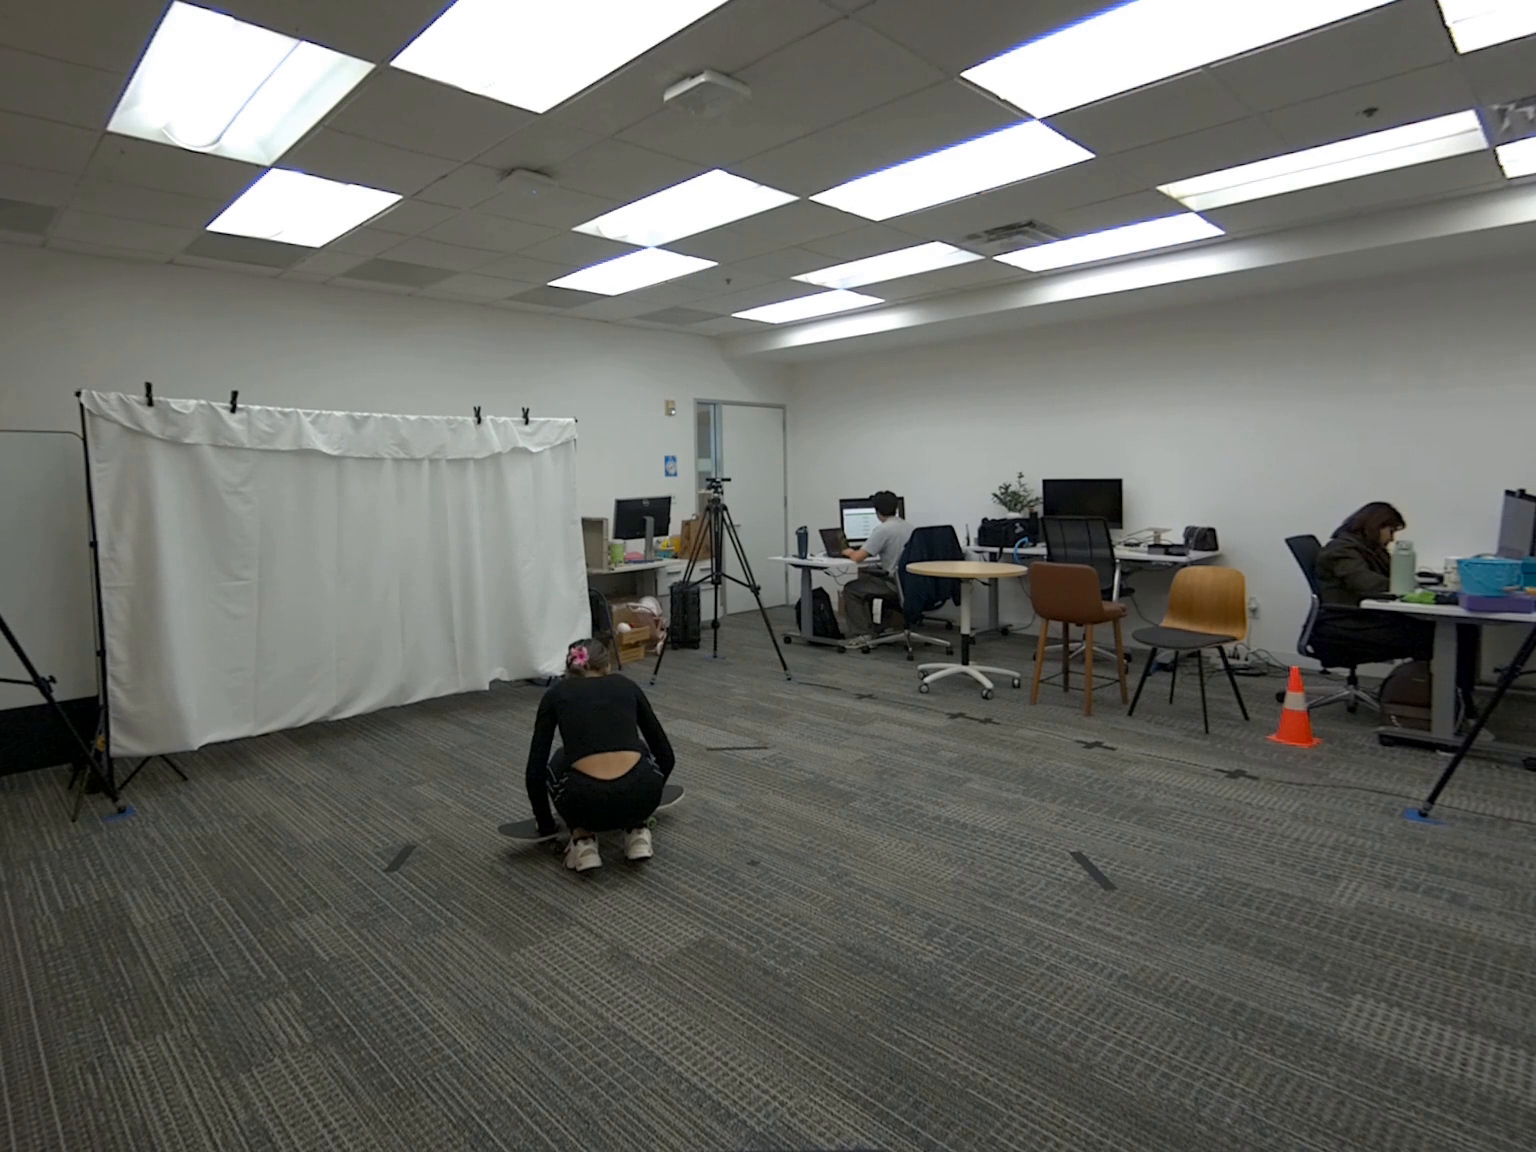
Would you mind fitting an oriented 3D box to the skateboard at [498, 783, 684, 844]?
[{"bbox_3d":[-0.676,0.965,3.385,0.767,0.110,0.199,-6,7,-33],"label":"skateboard"}]
